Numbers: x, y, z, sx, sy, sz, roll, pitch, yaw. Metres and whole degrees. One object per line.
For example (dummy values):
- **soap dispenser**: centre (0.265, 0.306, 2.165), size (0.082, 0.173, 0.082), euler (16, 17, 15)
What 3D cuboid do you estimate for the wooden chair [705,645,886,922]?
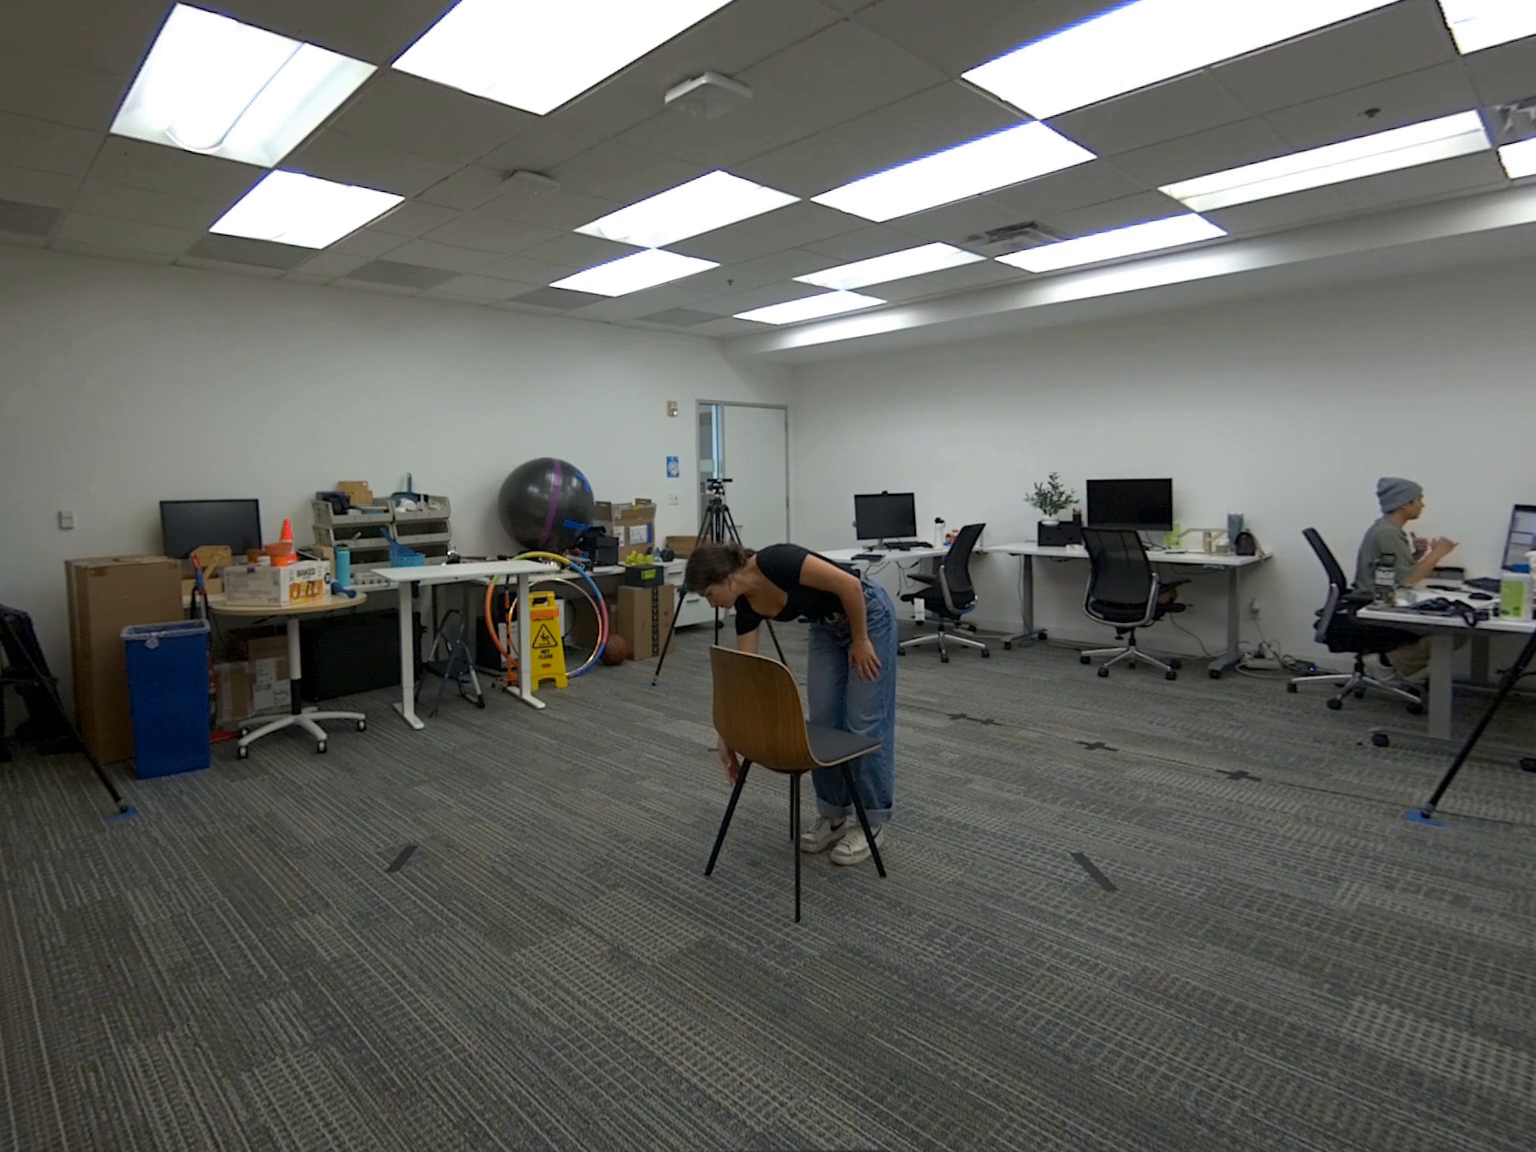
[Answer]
- **wooden chair**: centre (0.096, 0.632, 2.967), size (0.511, 0.872, 0.493), euler (-10, 9, -43)
